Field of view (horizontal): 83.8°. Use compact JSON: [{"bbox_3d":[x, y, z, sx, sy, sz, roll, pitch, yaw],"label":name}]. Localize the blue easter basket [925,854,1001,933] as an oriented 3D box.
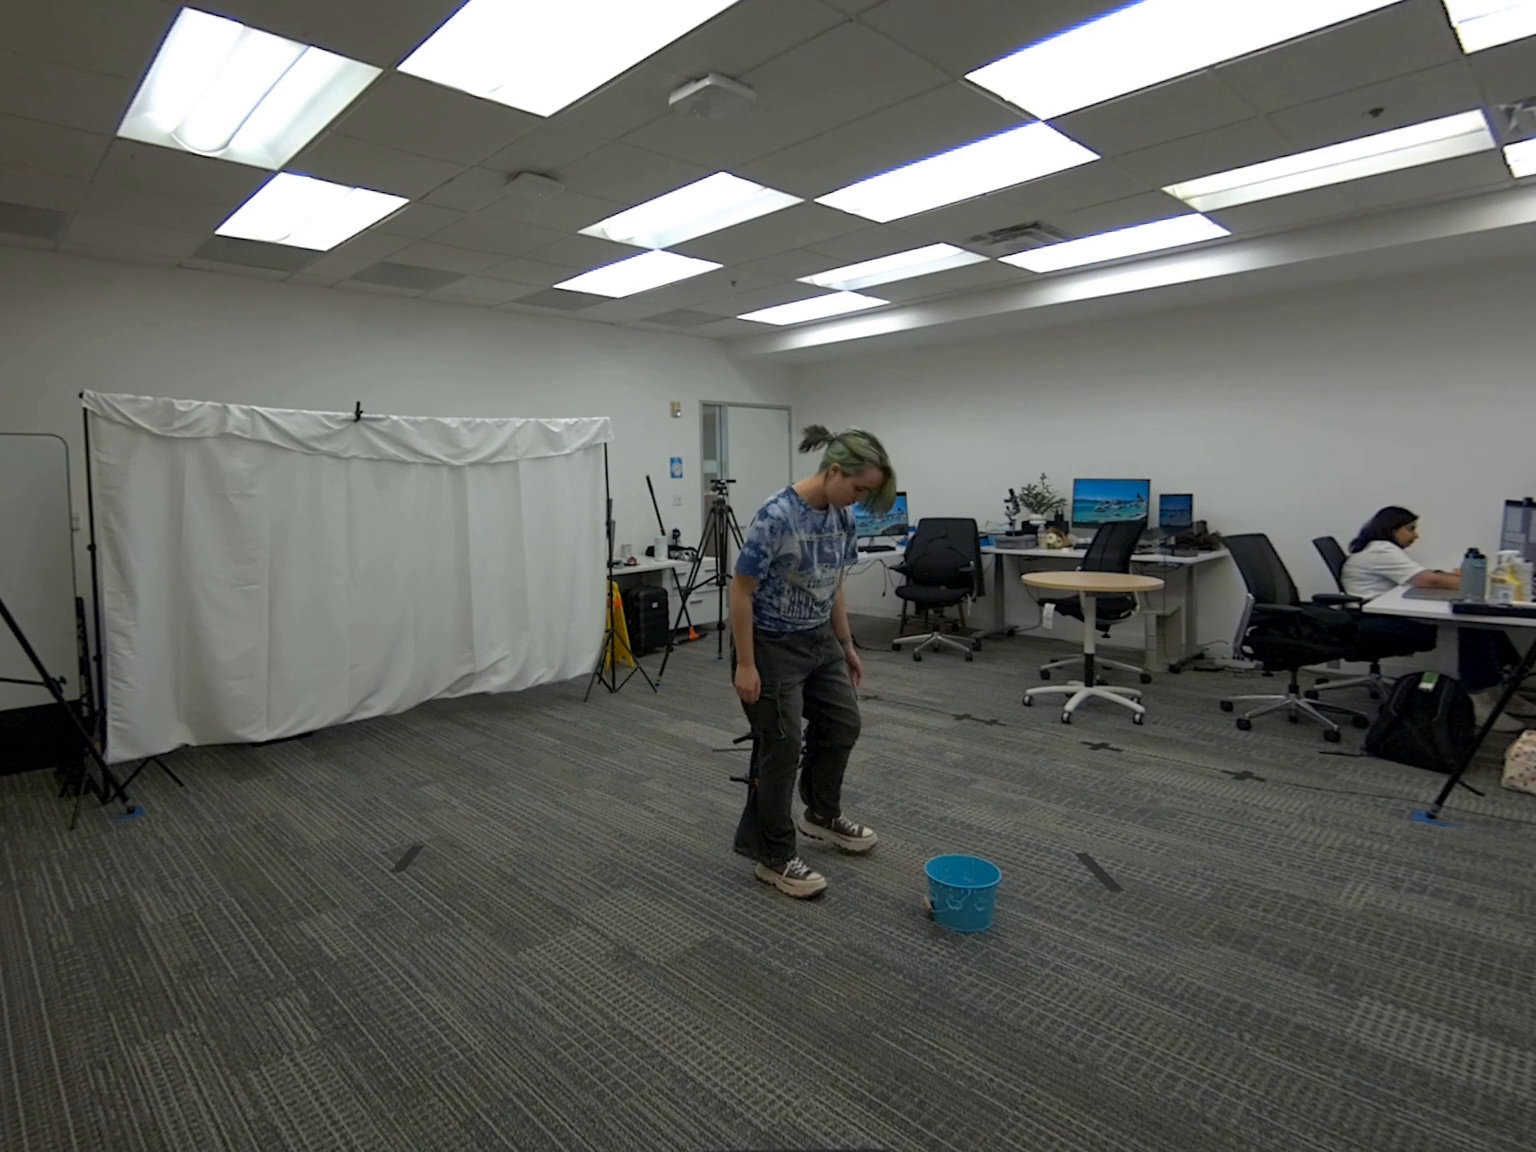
[{"bbox_3d":[0.617,1.001,2.706,0.243,0.155,0.245,-2,5,-2],"label":"blue easter basket"}]
